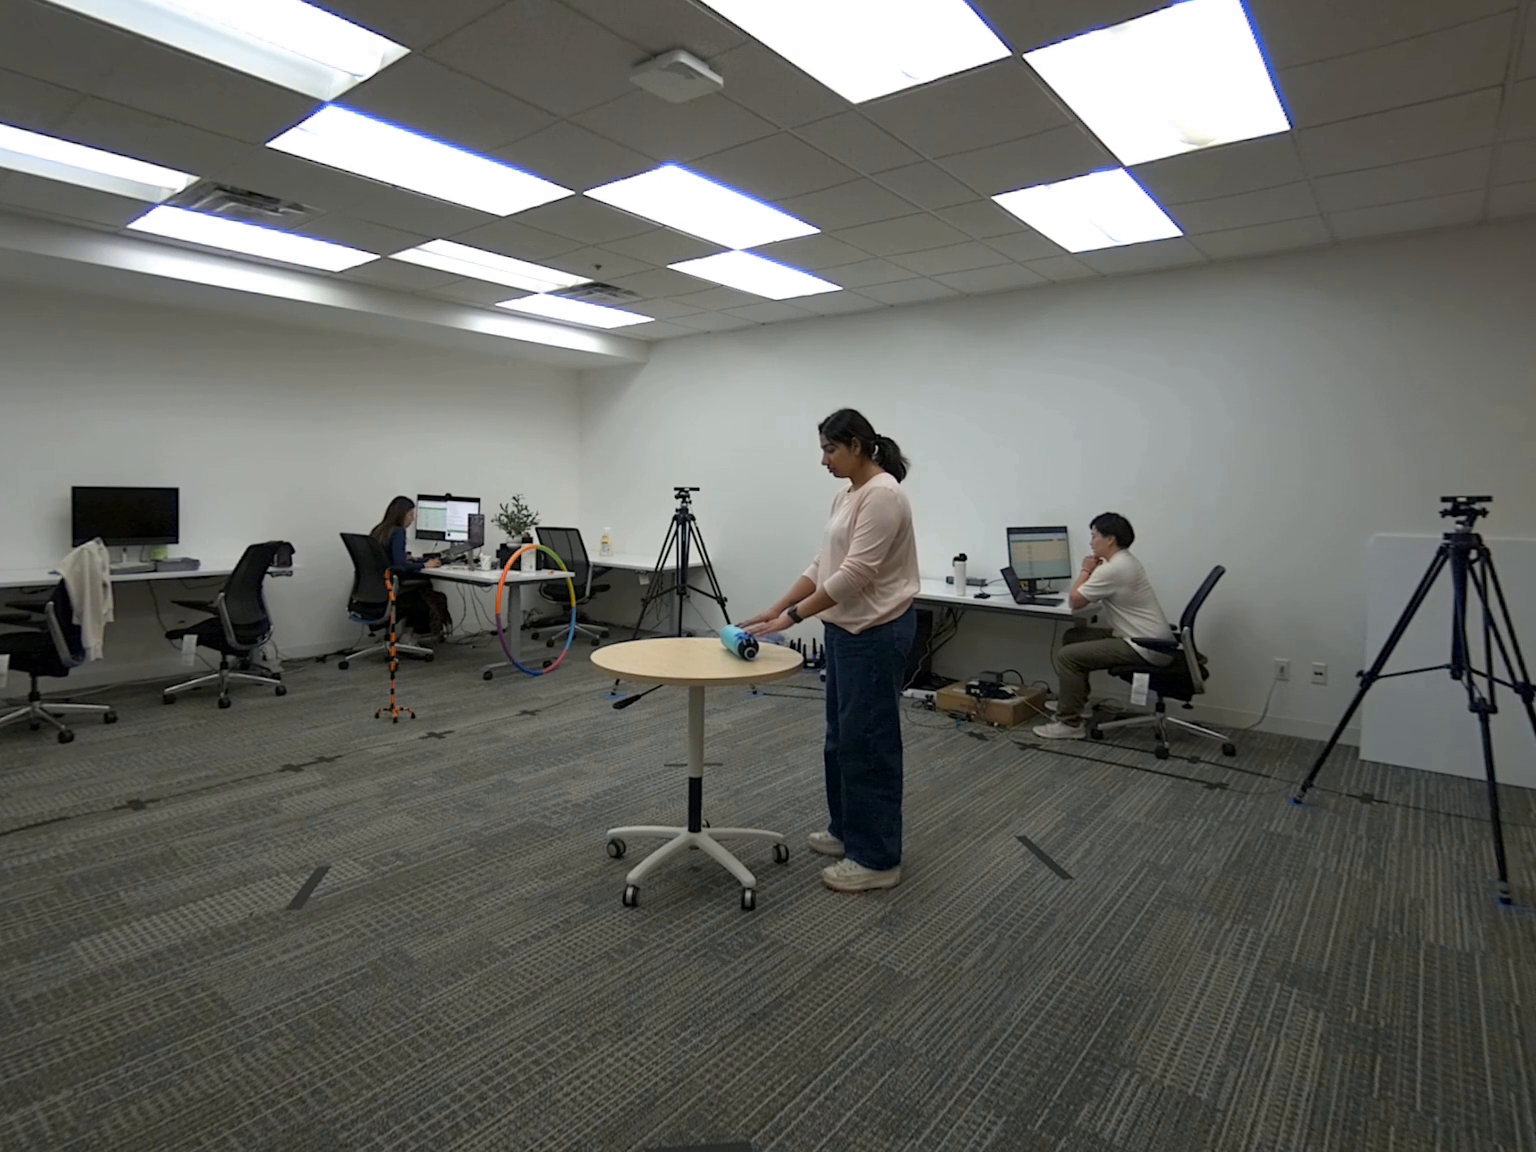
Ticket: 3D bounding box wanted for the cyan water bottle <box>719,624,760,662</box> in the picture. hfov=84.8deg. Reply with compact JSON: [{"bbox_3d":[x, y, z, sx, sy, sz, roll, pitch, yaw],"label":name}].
[{"bbox_3d":[-0.111,0.238,3.102,0.091,0.092,0.288,0,5,-15],"label":"cyan water bottle"}]
